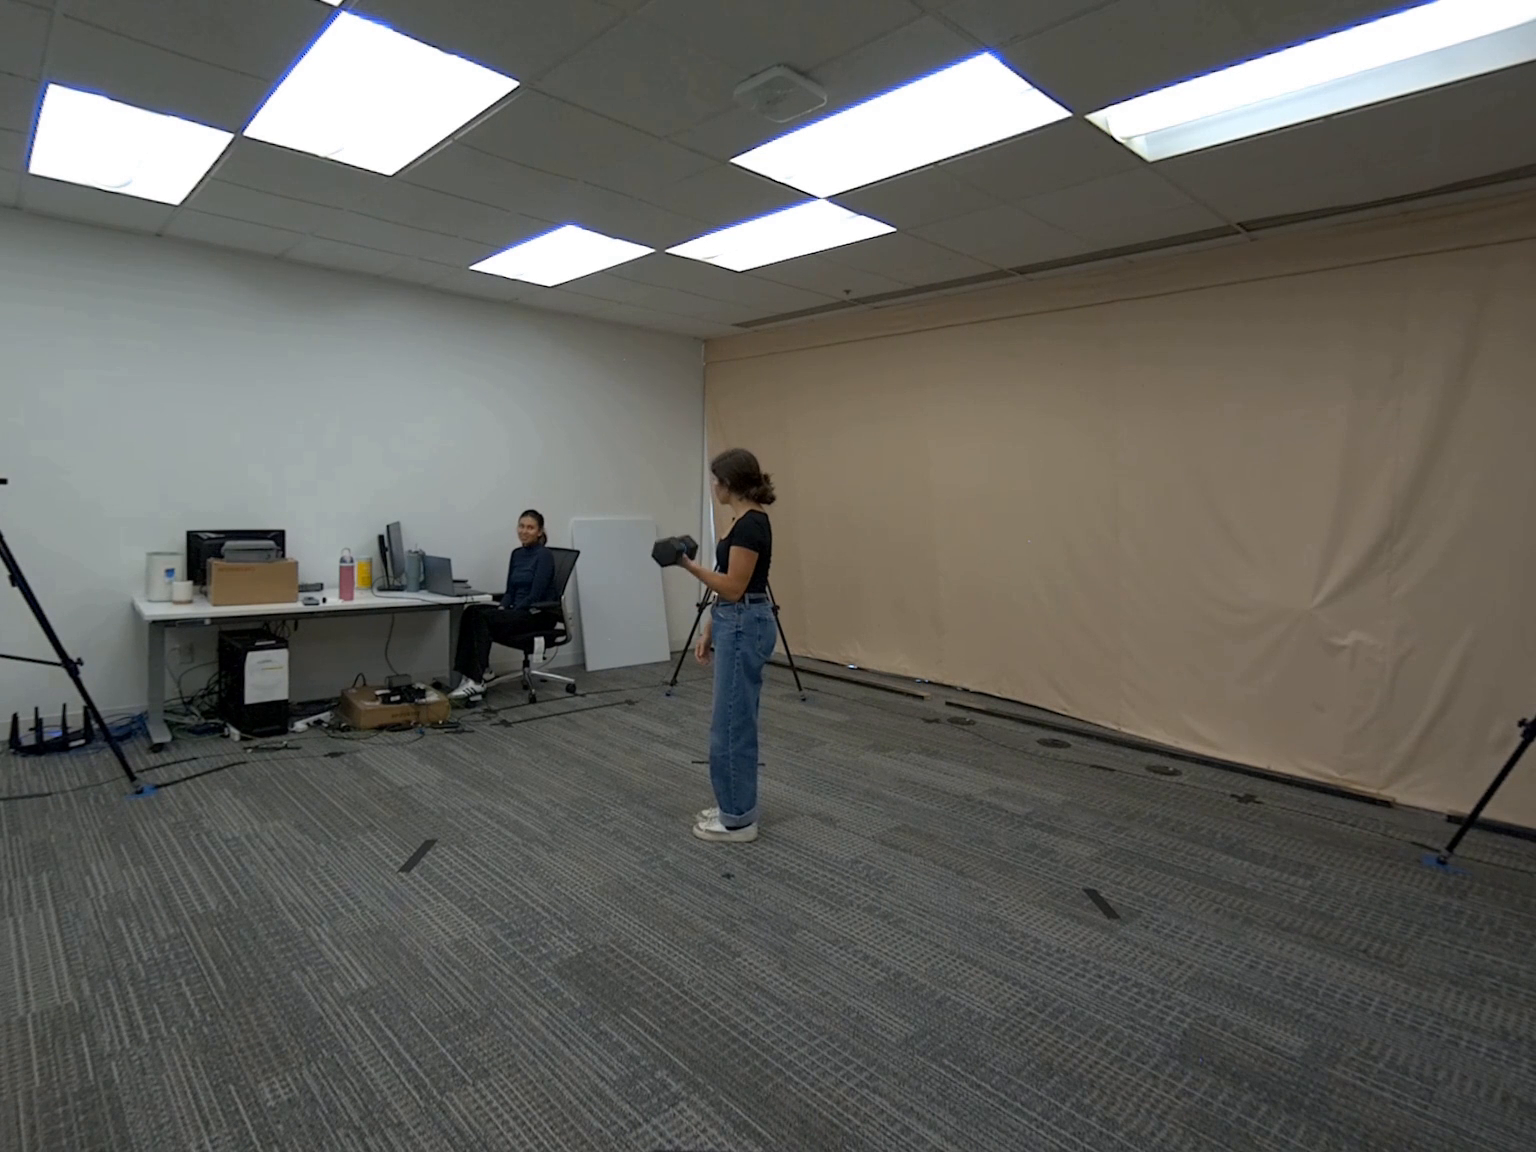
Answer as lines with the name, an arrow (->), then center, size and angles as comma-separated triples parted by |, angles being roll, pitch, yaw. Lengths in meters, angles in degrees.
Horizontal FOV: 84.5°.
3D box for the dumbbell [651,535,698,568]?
dumbbell -> -0.364, -0.092, 3.331 | 0.123, 0.109, 0.292 | 46, 10, 3
